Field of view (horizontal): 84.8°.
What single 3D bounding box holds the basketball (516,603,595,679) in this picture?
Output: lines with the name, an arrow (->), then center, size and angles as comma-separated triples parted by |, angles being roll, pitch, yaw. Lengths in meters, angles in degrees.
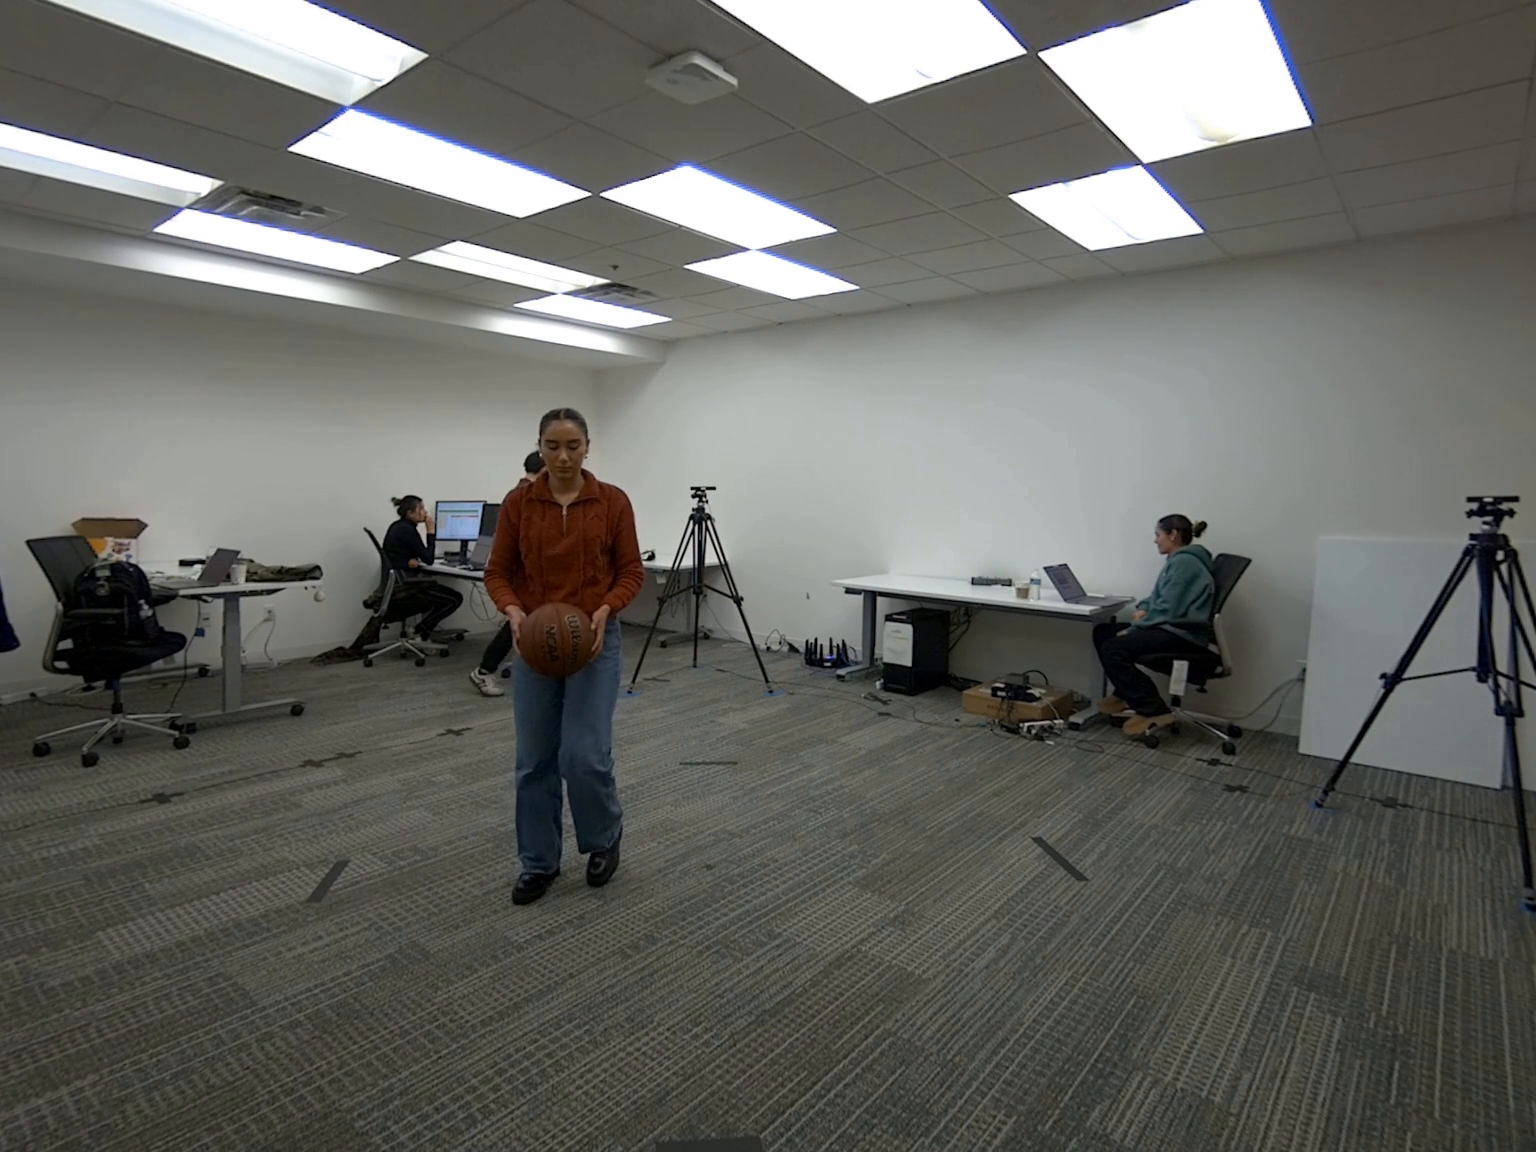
basketball -> -0.658, 0.193, 2.663 | 0.236, 0.235, 0.237 | 1, 4, -2
